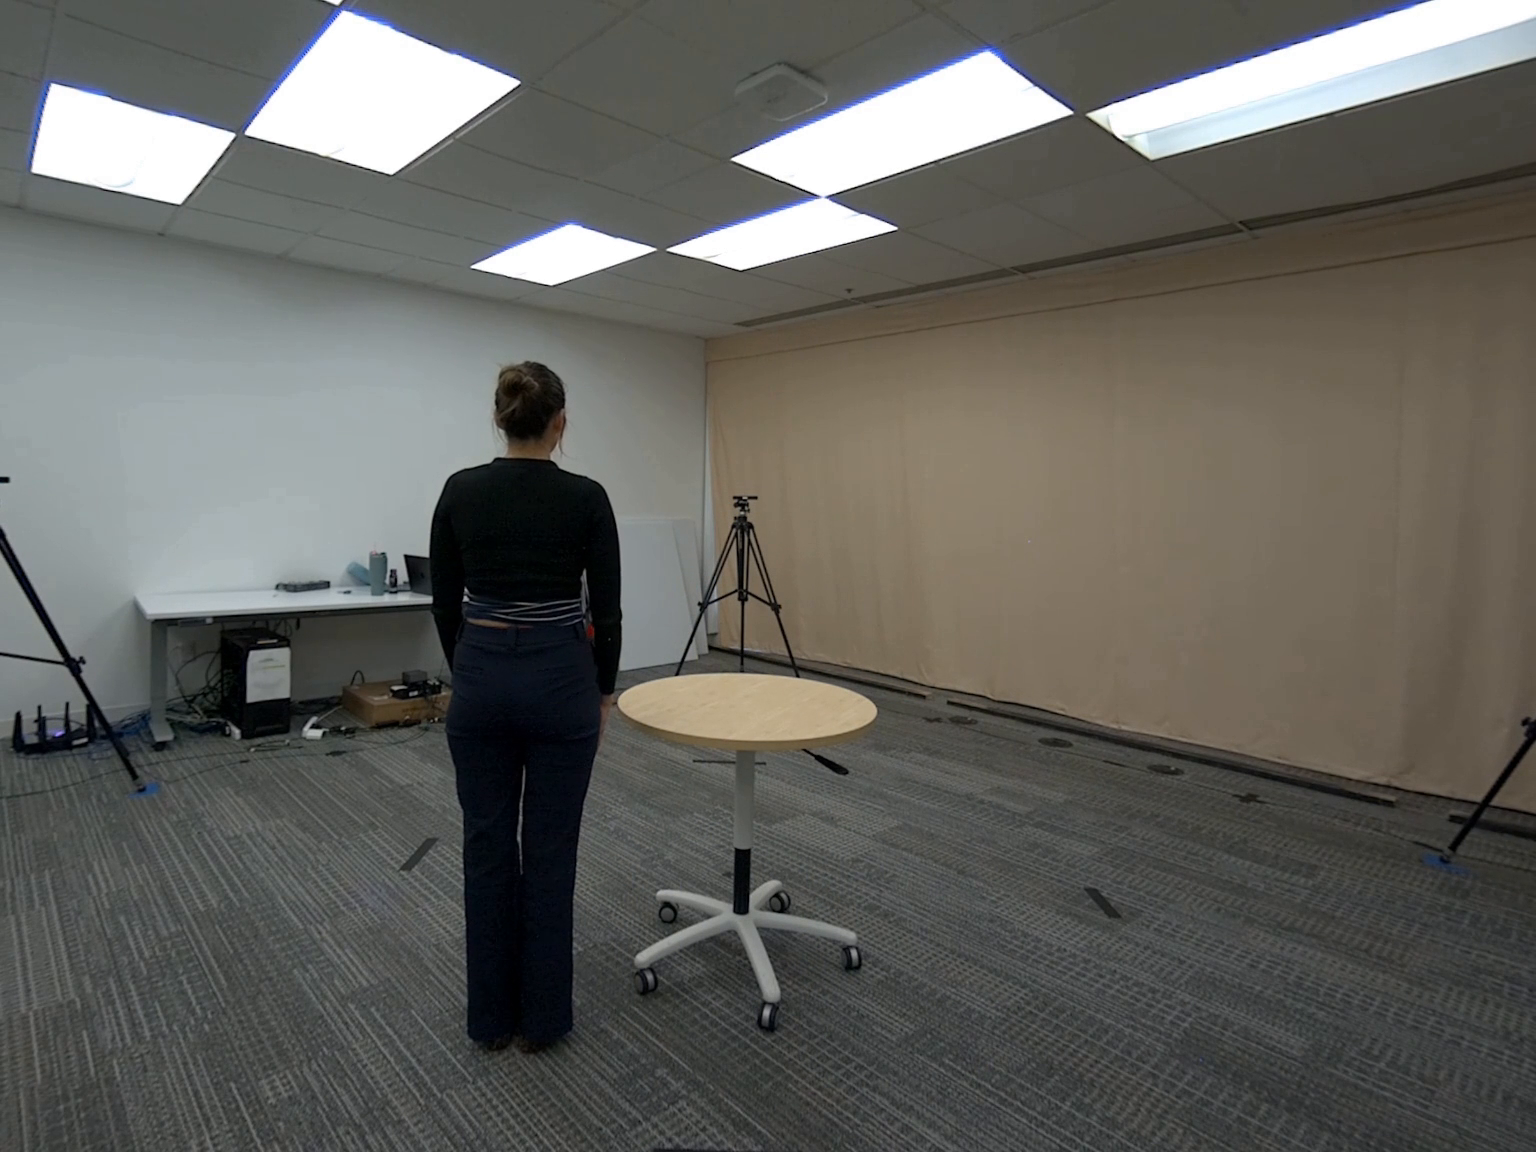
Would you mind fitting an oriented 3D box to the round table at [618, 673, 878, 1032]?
[{"bbox_3d":[-0.082,0.770,2.529,0.763,0.791,0.767,2,5,-1],"label":"round table"}]
